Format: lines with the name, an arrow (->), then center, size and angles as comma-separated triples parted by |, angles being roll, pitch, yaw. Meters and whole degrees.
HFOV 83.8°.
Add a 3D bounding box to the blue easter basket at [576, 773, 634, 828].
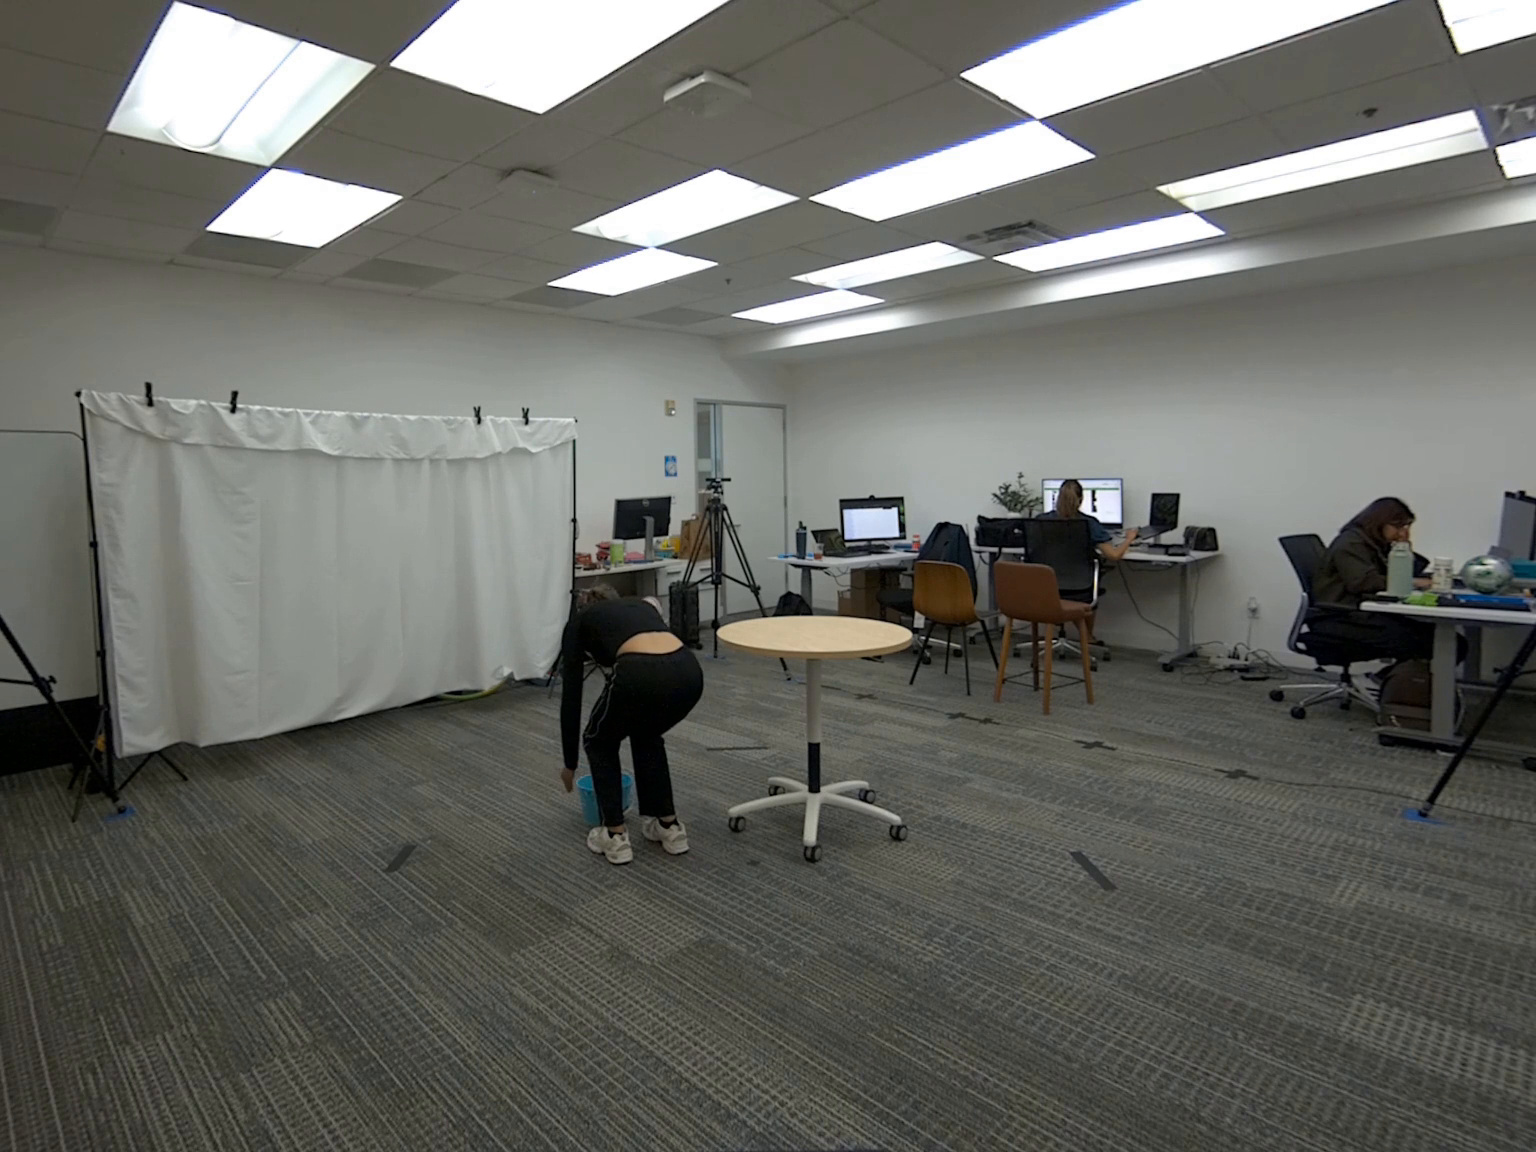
blue easter basket -> -0.674, 0.924, 3.544 | 0.243, 0.155, 0.245 | -1, 5, -2
